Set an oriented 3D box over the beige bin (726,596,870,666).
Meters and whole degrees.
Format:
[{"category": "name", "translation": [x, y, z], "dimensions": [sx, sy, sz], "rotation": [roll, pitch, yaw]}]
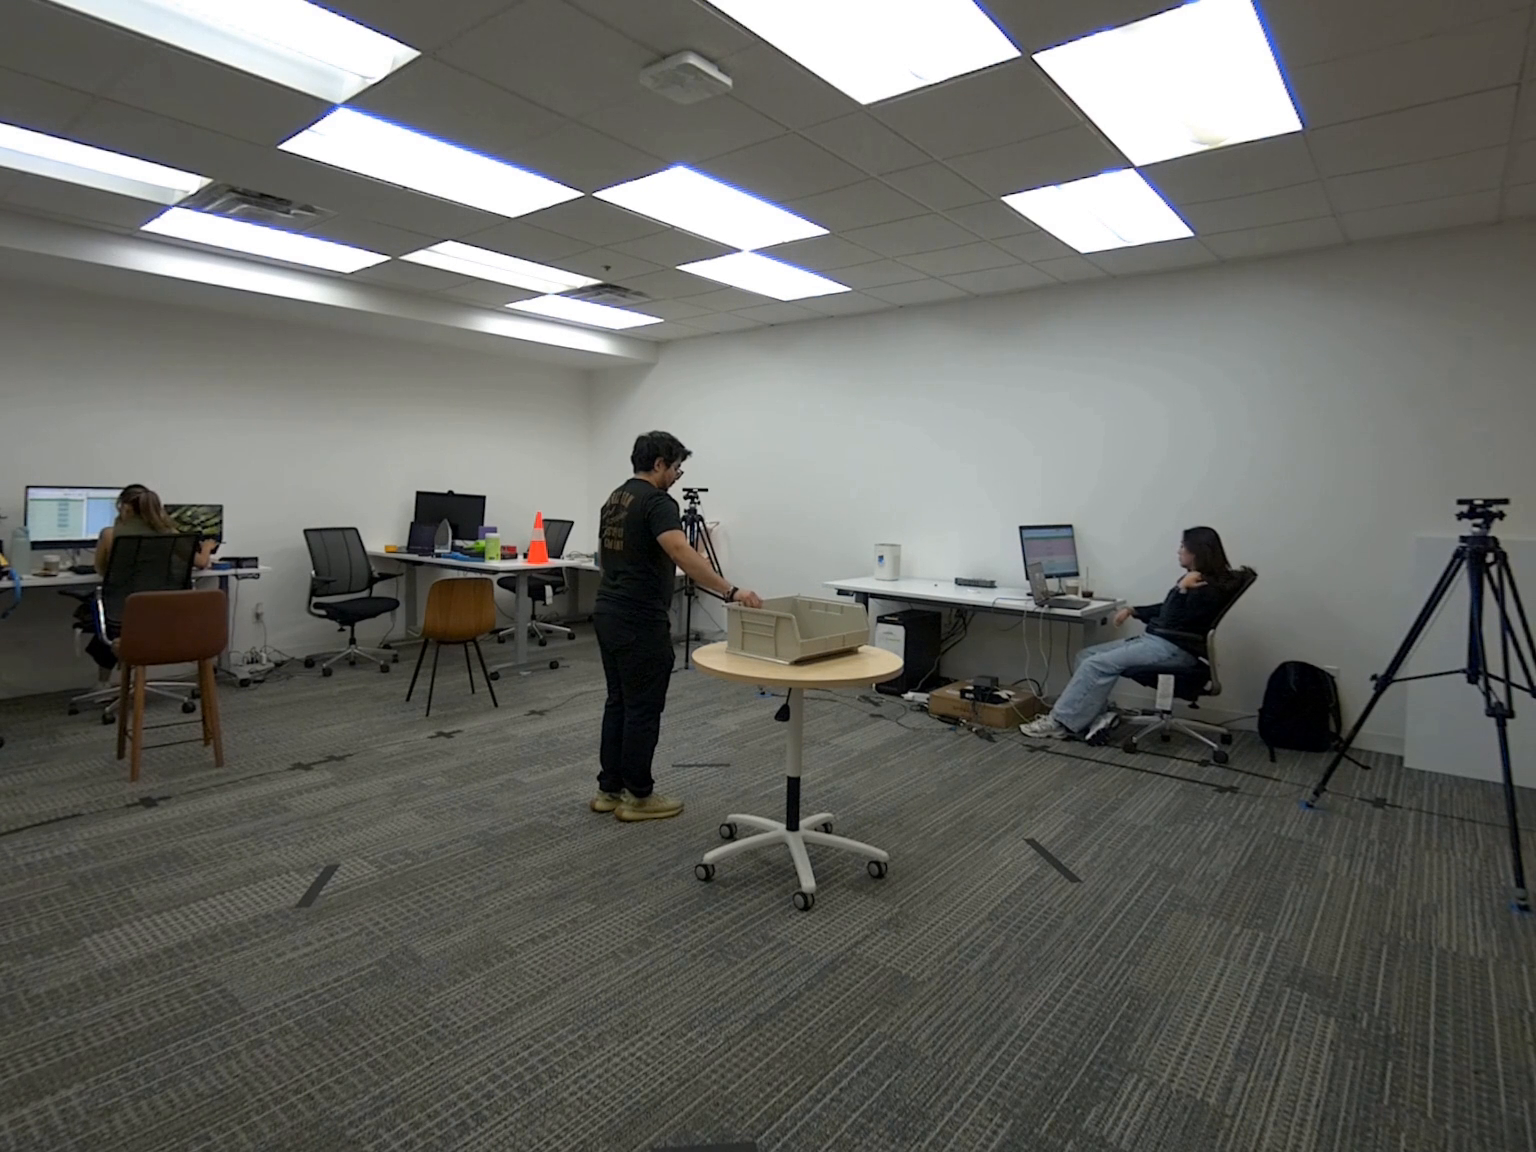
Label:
[{"category": "beige bin", "translation": [0.105, 0.195, 3.184], "dimensions": [0.390, 0.188, 0.410], "rotation": [5, 7, 43]}]
